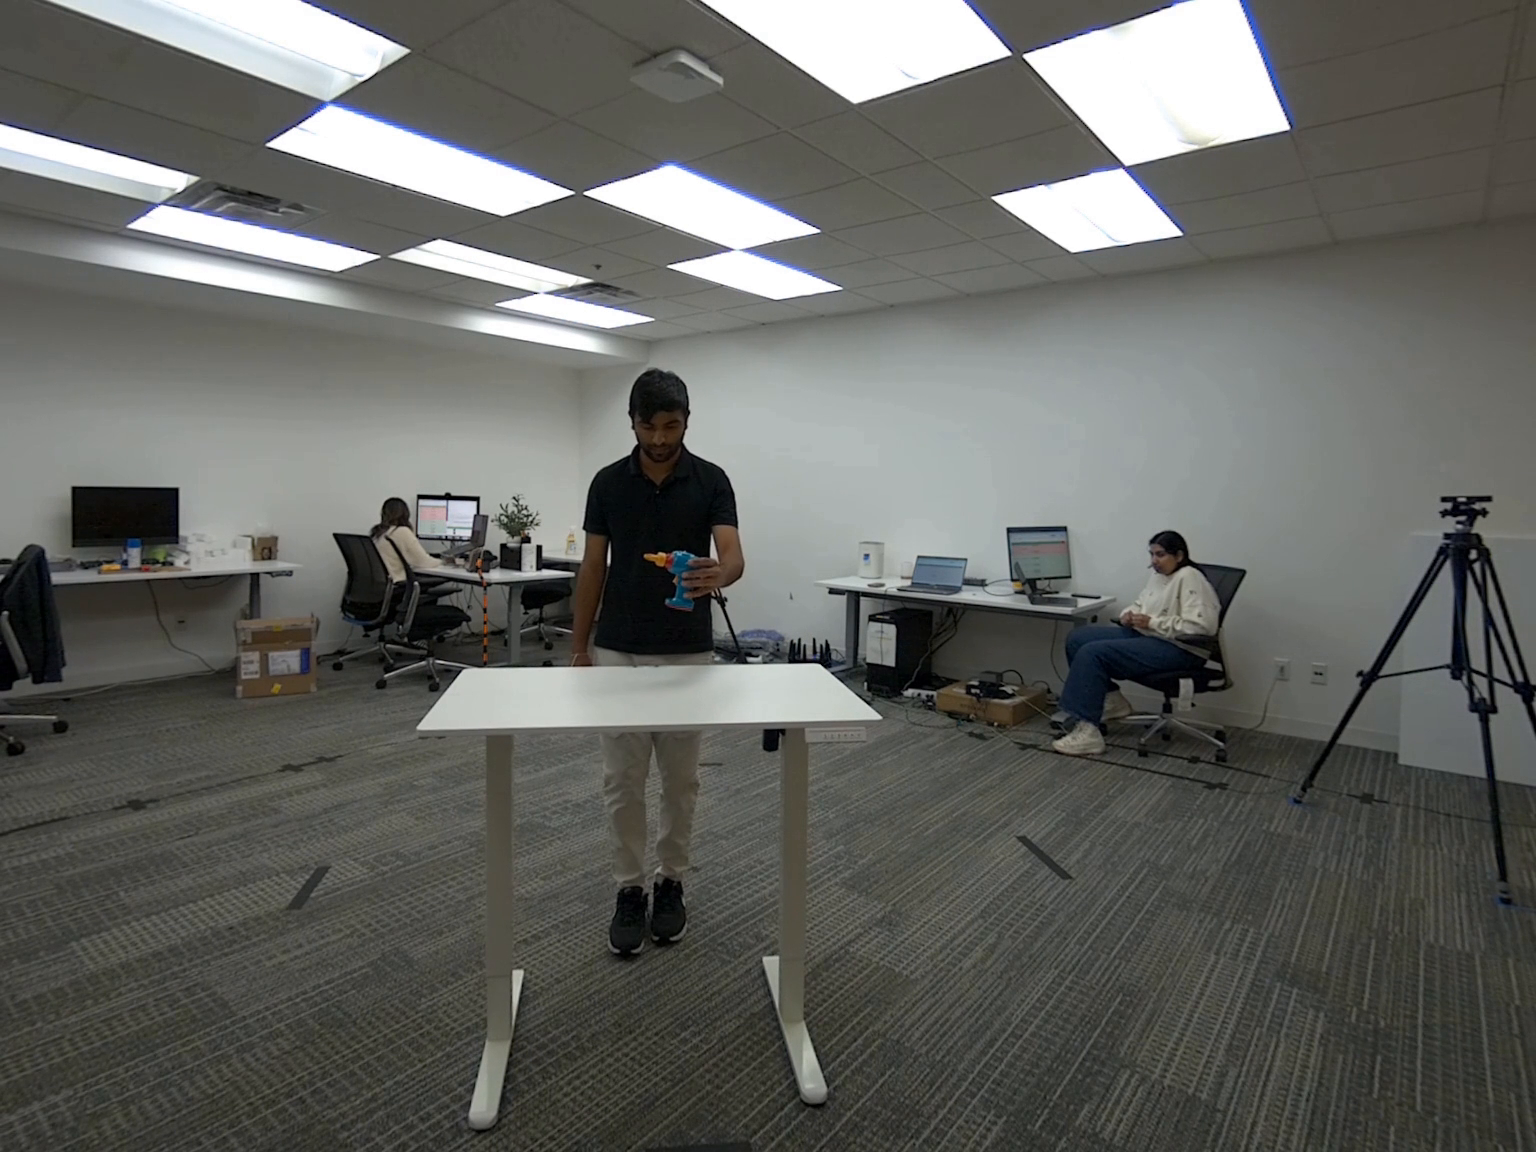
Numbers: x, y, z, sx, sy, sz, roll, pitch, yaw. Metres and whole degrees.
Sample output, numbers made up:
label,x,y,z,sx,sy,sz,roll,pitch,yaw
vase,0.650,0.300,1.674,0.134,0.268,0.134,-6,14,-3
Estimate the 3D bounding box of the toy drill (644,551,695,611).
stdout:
label,x,y,z,sx,sy,sz,roll,pitch,yaw
toy drill,-0.259,0.001,2.201,0.165,0.146,0.063,11,4,-23
